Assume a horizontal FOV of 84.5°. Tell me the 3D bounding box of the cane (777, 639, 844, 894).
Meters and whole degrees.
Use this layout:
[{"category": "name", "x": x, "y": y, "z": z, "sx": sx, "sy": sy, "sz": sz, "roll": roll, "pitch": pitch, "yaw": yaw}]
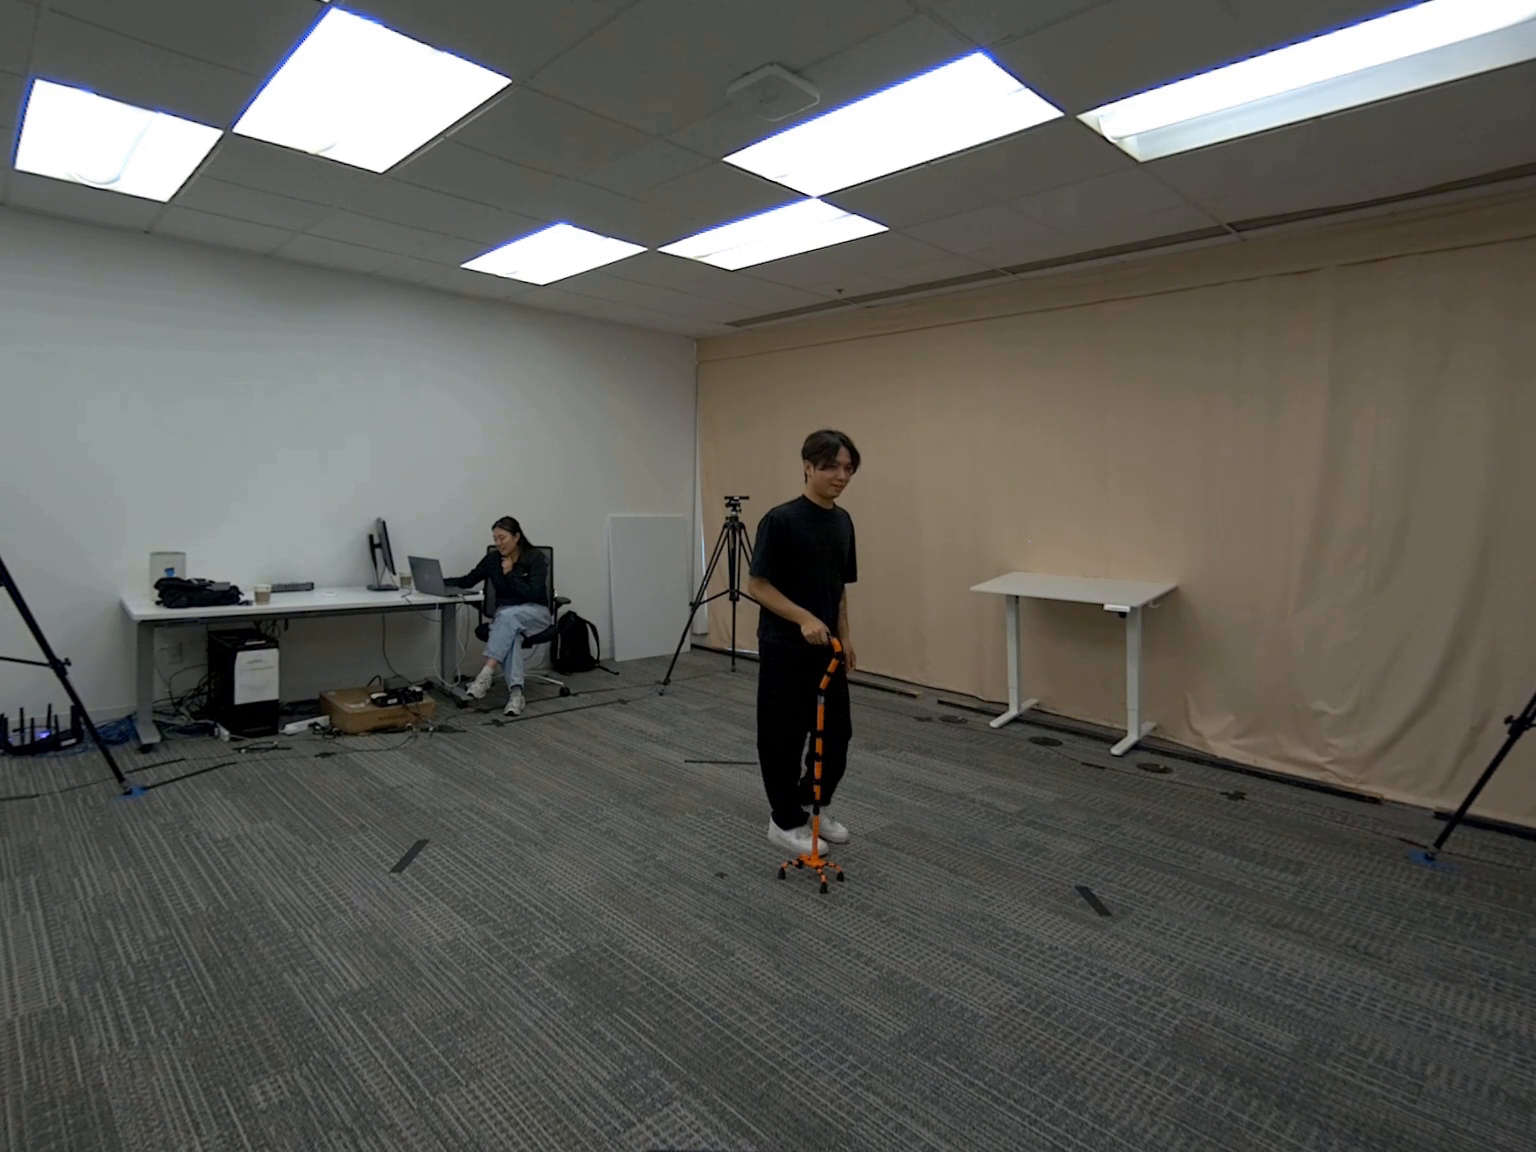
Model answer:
[{"category": "cane", "x": 0.169, "y": 0.663, "z": 3.059, "sx": 0.211, "sy": 0.906, "sz": 0.148, "roll": 5, "pitch": 4, "yaw": 34}]
